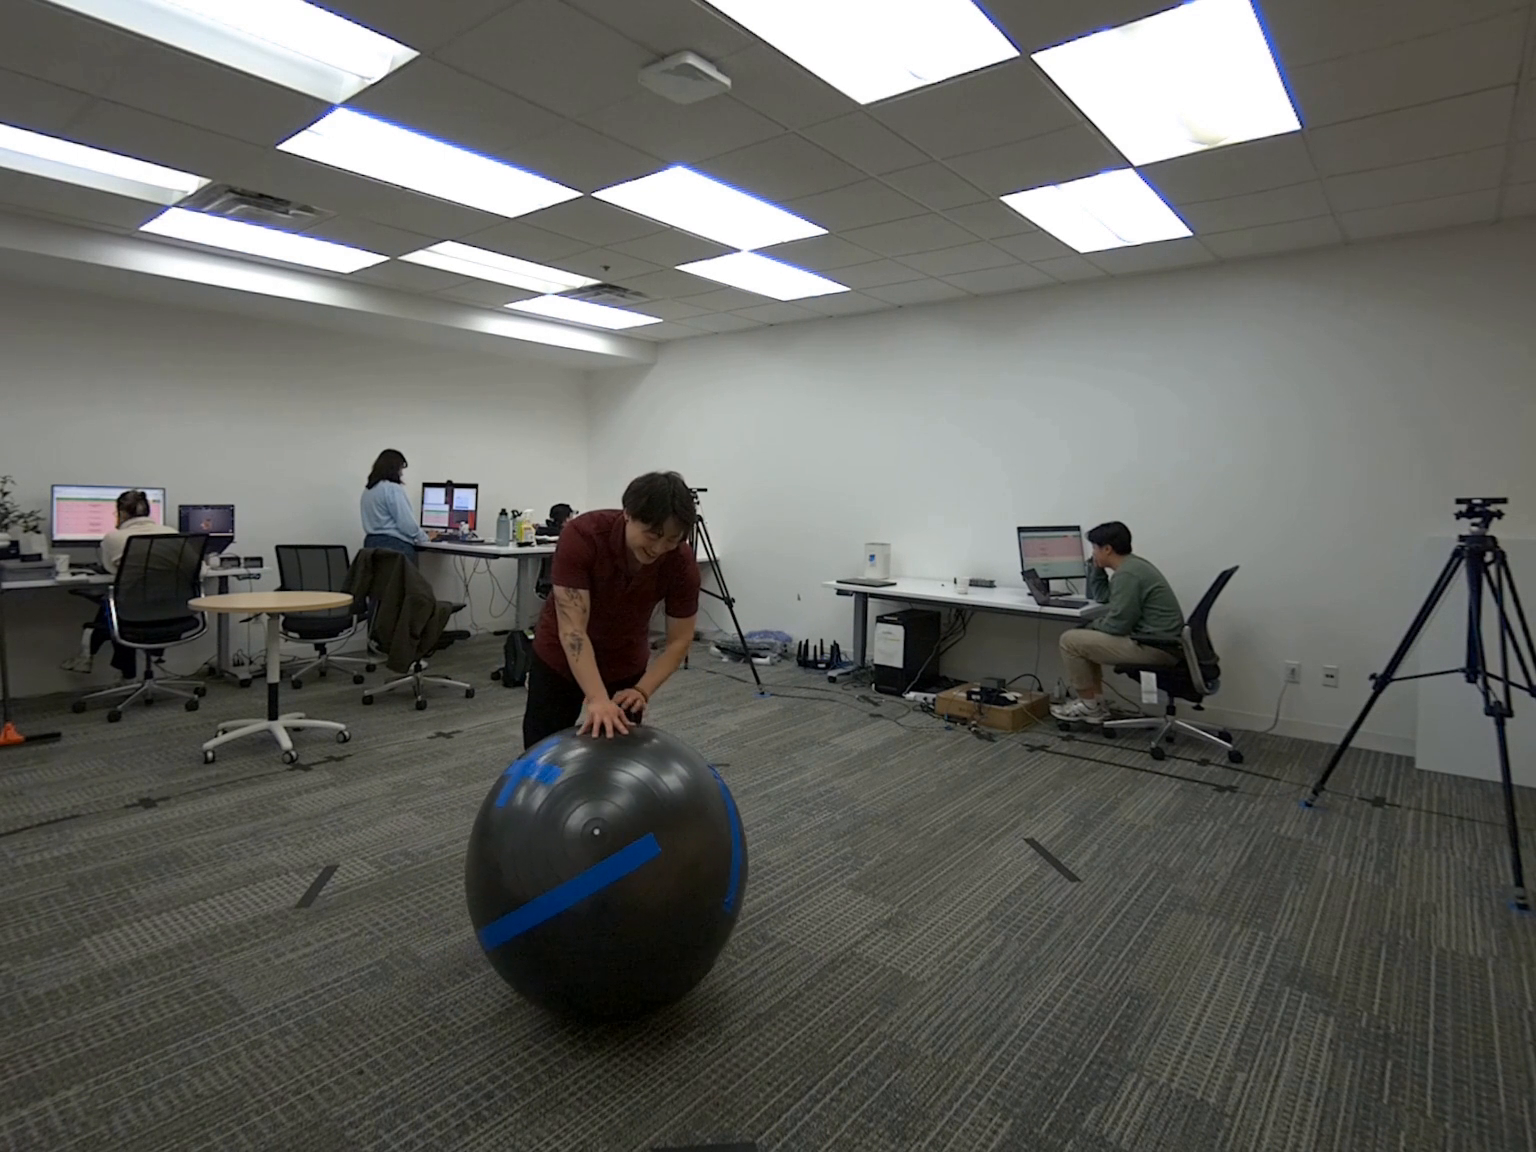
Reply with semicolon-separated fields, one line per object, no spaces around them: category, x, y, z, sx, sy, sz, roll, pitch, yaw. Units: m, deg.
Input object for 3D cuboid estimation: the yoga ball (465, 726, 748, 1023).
yoga ball;-0.439;0.786;2.315;0.757;0.755;0.762;1;4;-2
